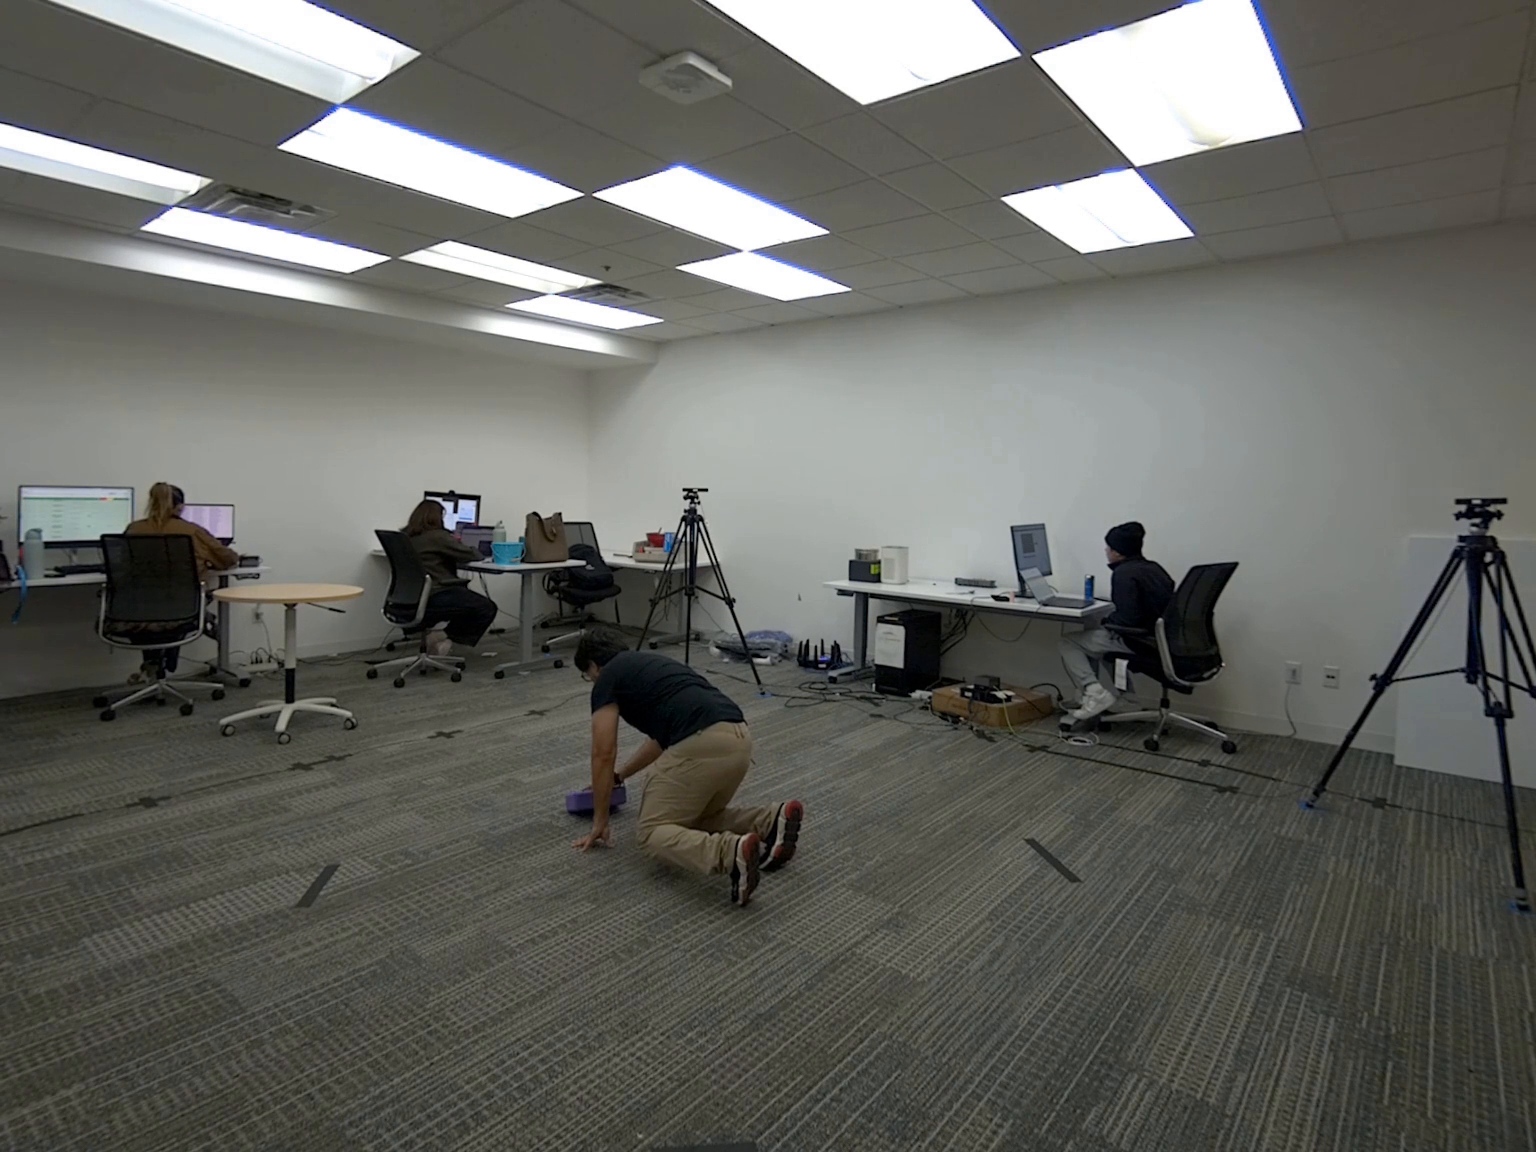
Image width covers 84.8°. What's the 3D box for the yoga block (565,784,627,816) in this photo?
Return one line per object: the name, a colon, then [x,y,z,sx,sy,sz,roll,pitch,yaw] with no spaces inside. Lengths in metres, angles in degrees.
yoga block: [-0.750,0.954,3.650,0.223,0.077,0.151,0,-13,-29]
